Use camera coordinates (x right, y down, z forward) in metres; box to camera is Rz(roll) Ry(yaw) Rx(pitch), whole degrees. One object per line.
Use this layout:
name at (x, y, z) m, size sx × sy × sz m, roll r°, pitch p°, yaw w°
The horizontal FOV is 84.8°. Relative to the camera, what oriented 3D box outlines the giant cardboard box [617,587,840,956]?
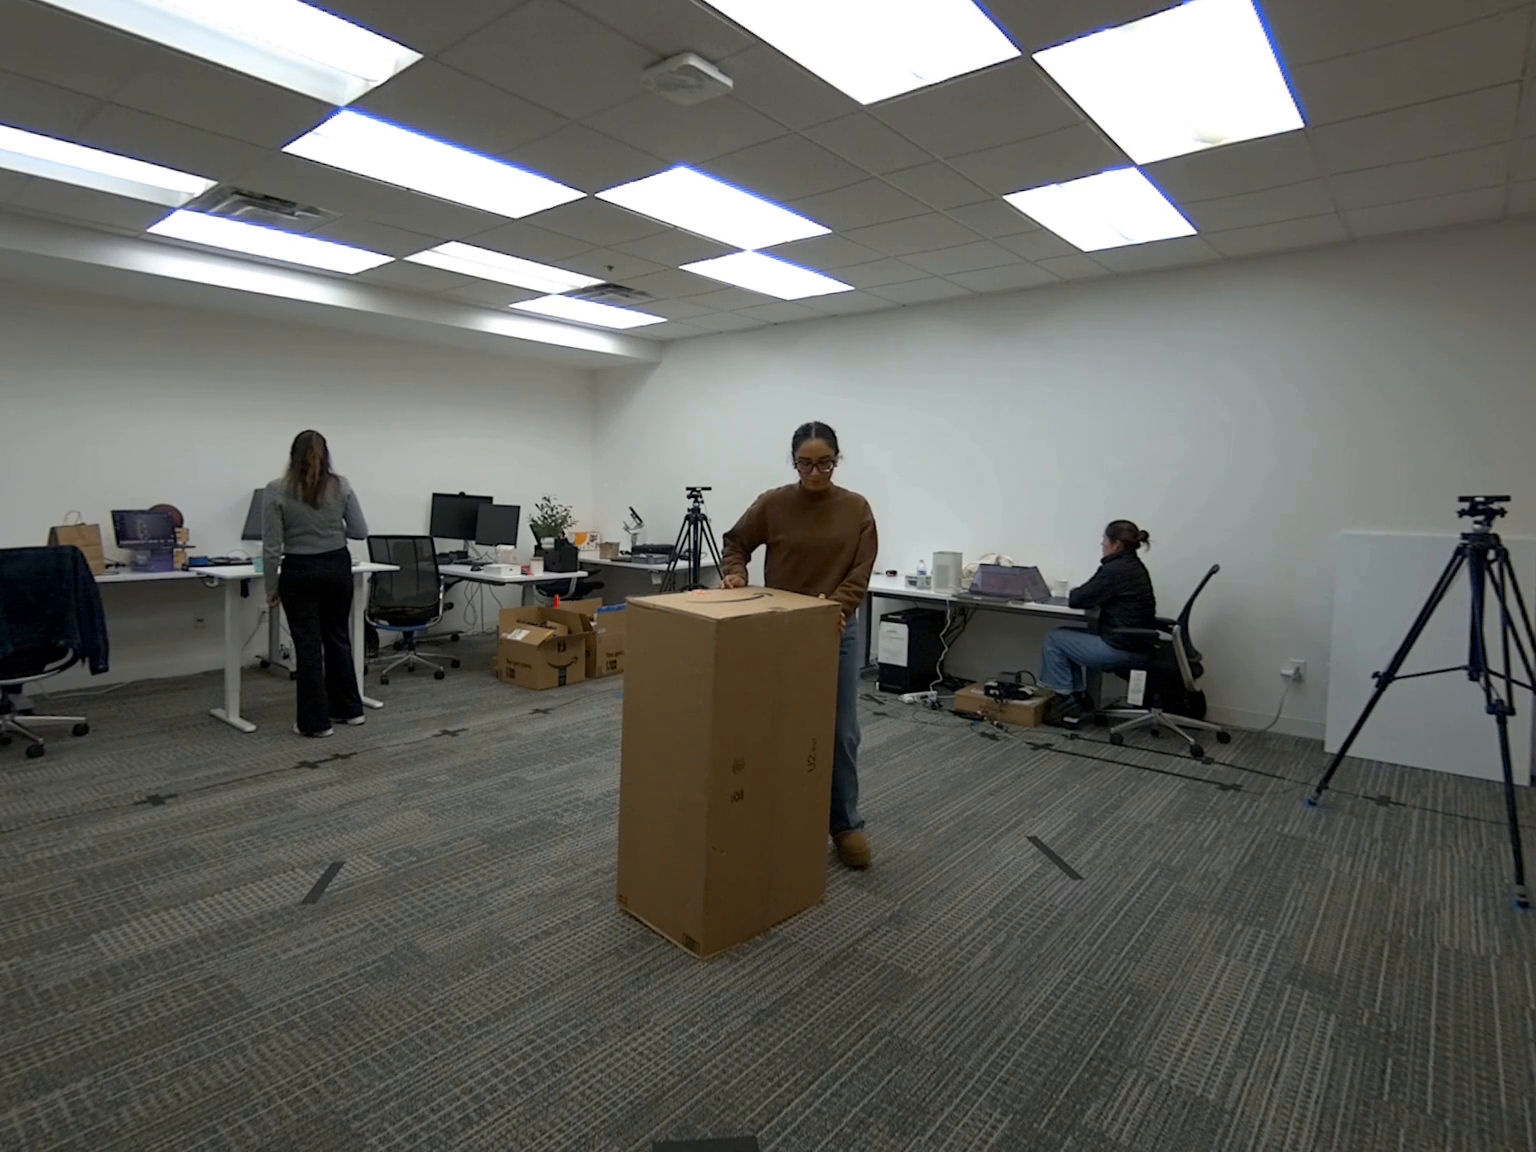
giant cardboard box at (-0.143, 0.584, 2.789) m, size 0.560 × 1.021 × 0.441 m, roll -2°, pitch 7°, yaw -45°
